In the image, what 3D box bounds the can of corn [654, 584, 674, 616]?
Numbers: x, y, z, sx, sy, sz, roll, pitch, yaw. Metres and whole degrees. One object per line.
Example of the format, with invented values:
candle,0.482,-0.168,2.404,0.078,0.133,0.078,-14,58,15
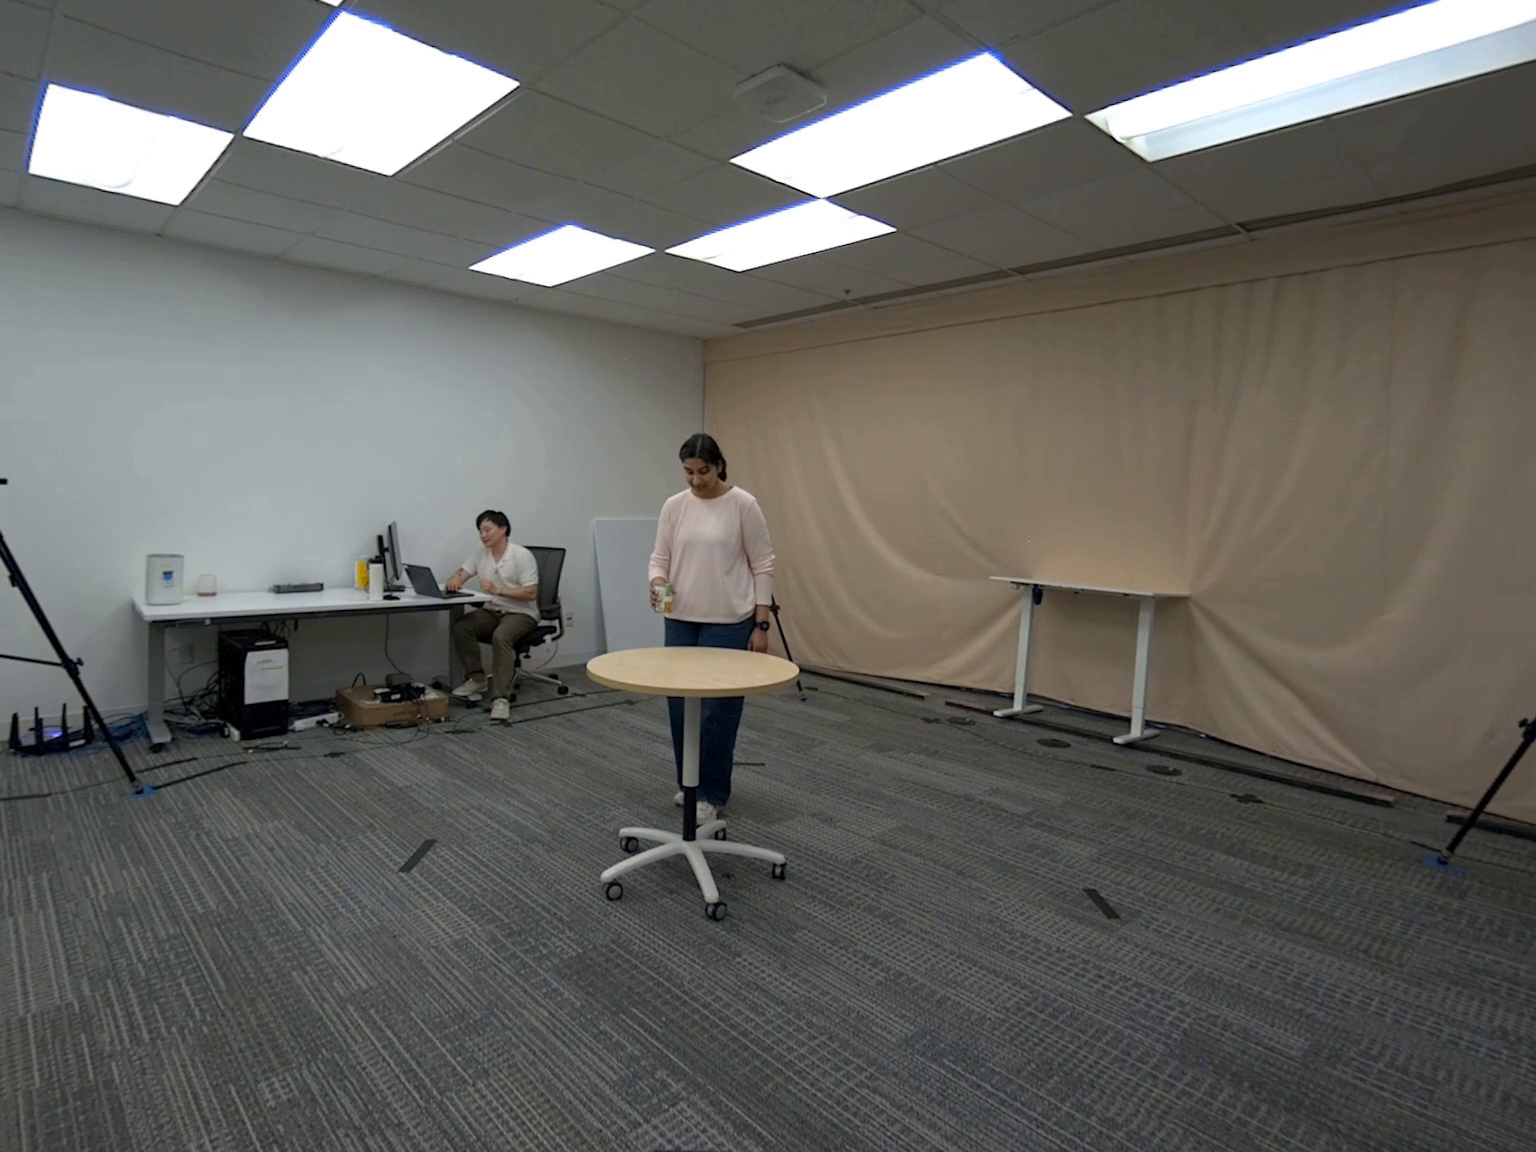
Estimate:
can of corn,-0.446,0.090,3.419,0.074,0.111,0.074,2,4,-1
